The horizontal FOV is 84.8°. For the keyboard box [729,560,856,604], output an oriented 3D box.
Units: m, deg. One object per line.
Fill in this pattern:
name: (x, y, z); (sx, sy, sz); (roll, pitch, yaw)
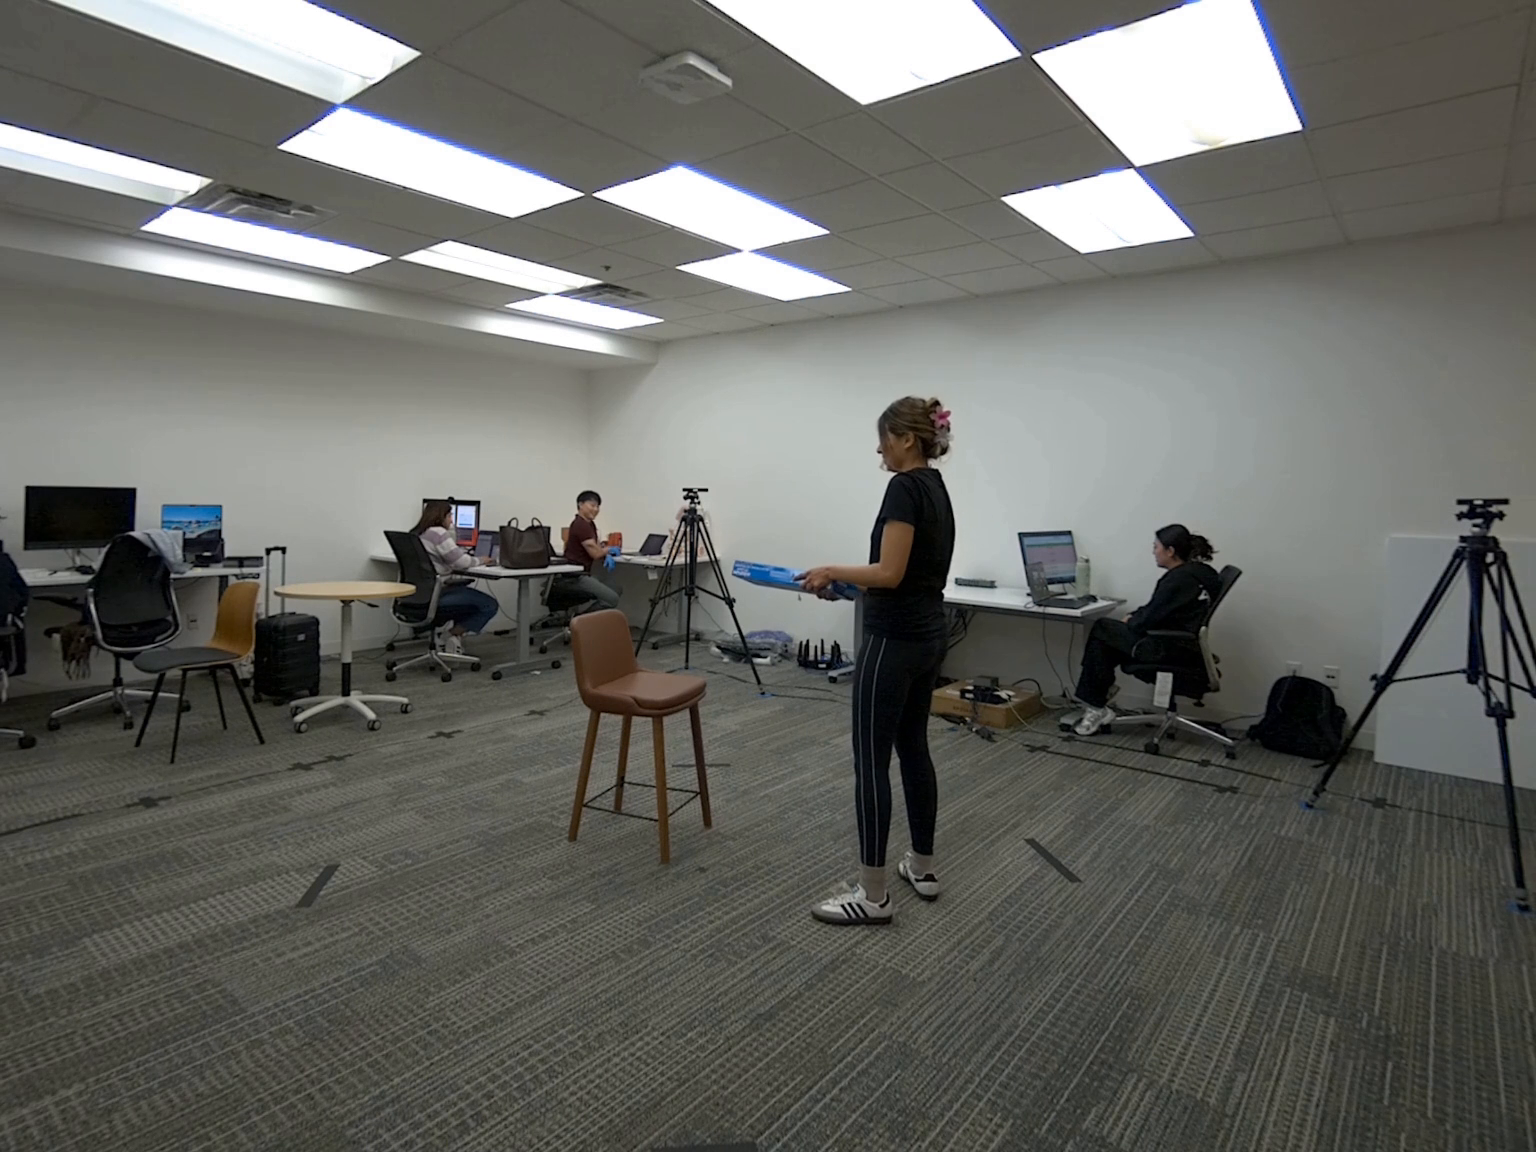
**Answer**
keyboard box: (0.086, 0.019, 3.120); (0.452, 0.059, 0.169); (10, -7, 37)
